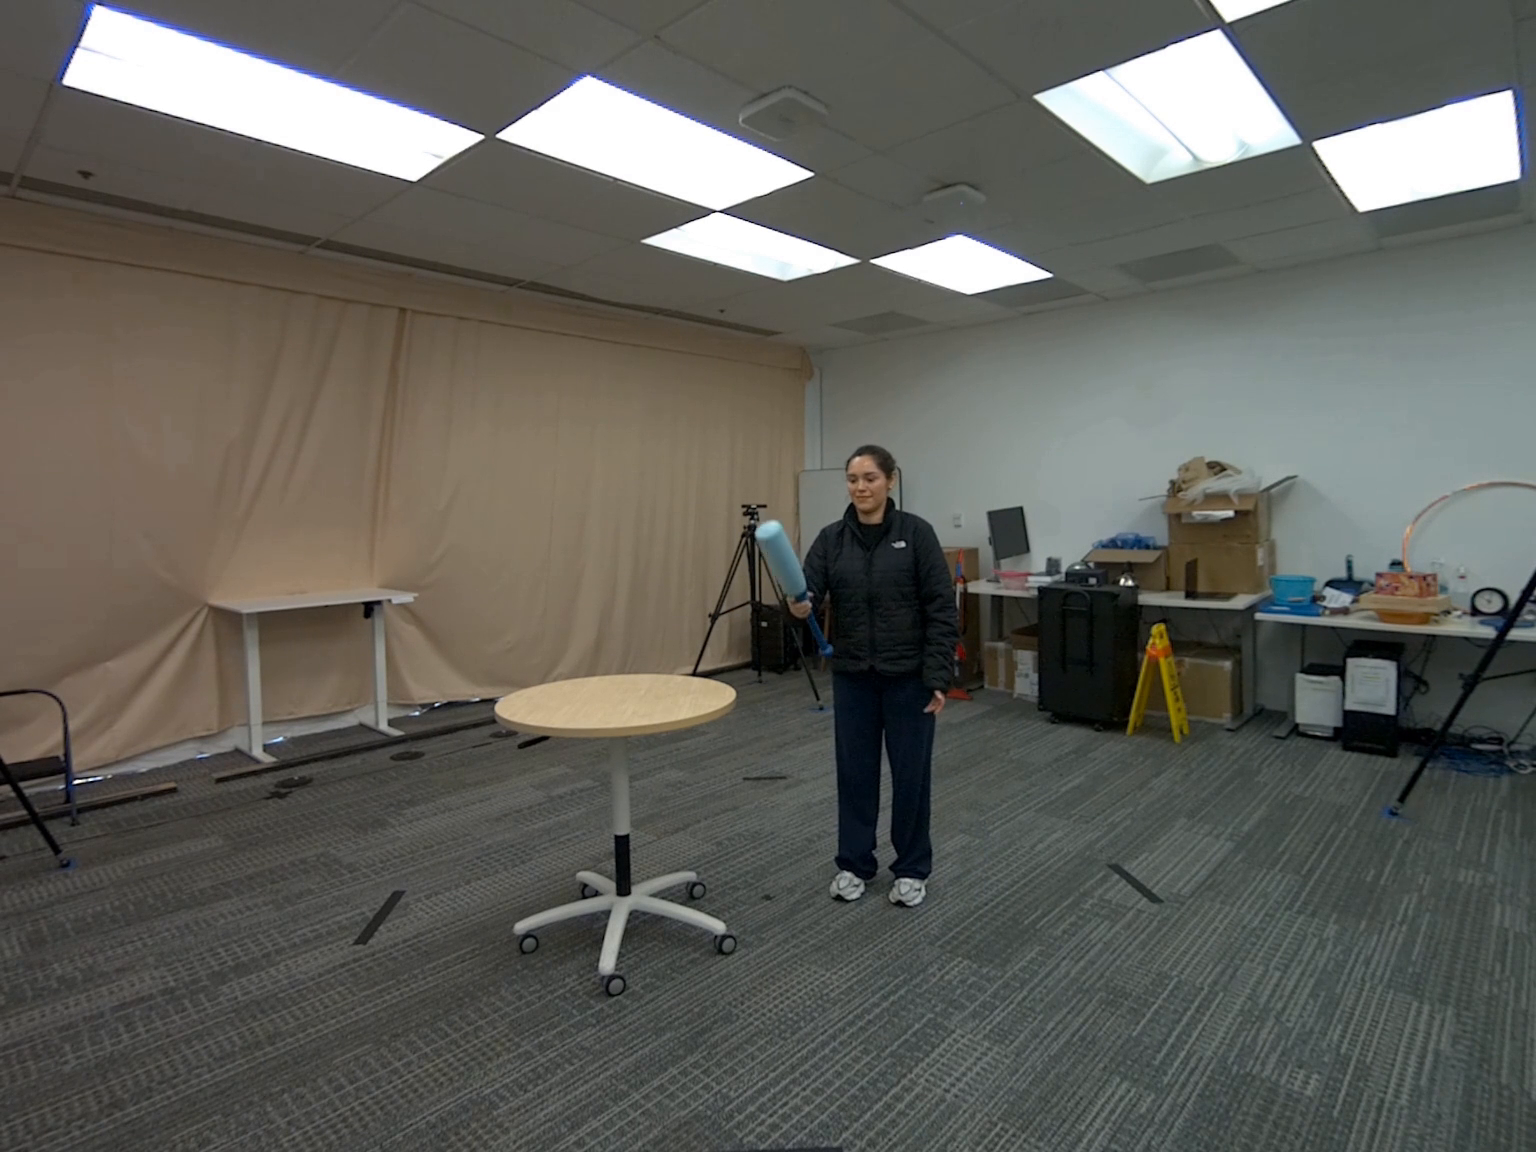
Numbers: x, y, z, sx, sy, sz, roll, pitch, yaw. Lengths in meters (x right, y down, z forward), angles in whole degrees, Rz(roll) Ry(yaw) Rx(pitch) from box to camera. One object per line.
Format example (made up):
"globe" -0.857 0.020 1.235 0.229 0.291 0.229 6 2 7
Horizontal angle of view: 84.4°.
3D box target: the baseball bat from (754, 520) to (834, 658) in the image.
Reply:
"baseball bat" 0.119 0.049 2.648 0.090 0.528 0.090 -20 31 11
